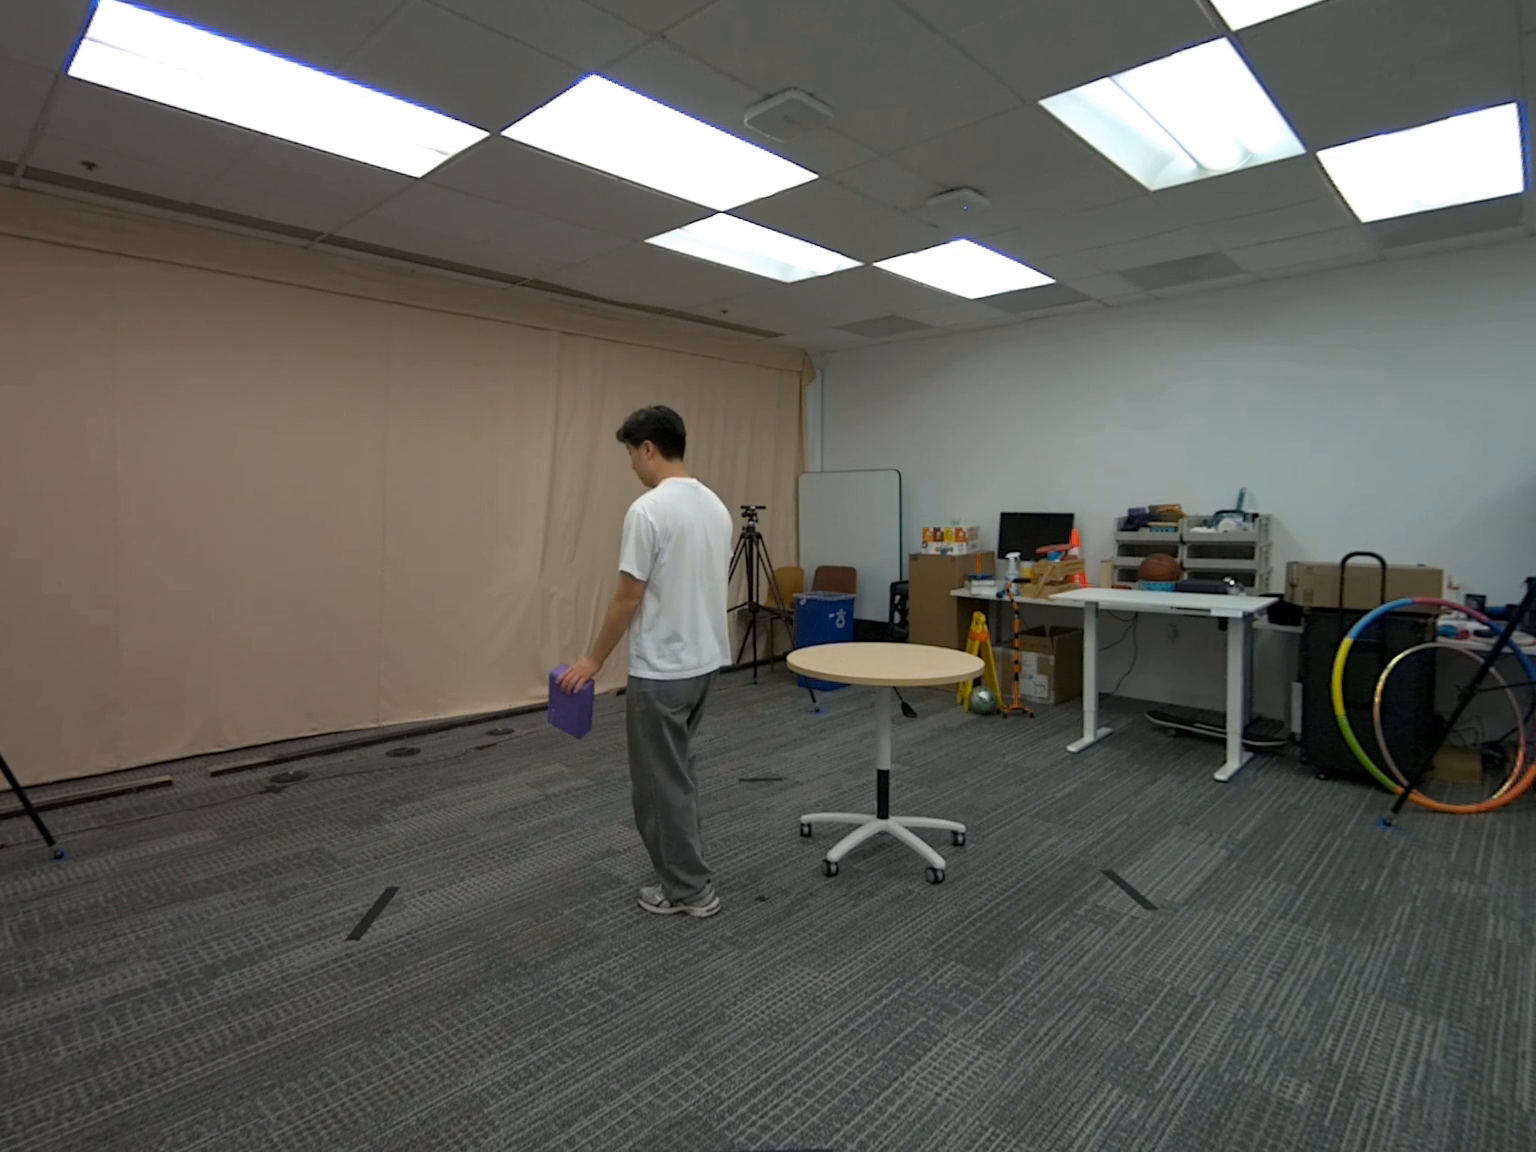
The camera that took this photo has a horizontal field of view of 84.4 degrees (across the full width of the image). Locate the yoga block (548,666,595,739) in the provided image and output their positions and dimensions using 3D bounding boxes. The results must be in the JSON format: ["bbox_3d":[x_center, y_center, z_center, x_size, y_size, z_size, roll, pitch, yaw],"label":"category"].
[{"bbox_3d":[-0.665,0.448,2.906,0.152,0.227,0.075,19,26,19],"label":"yoga block"}]
